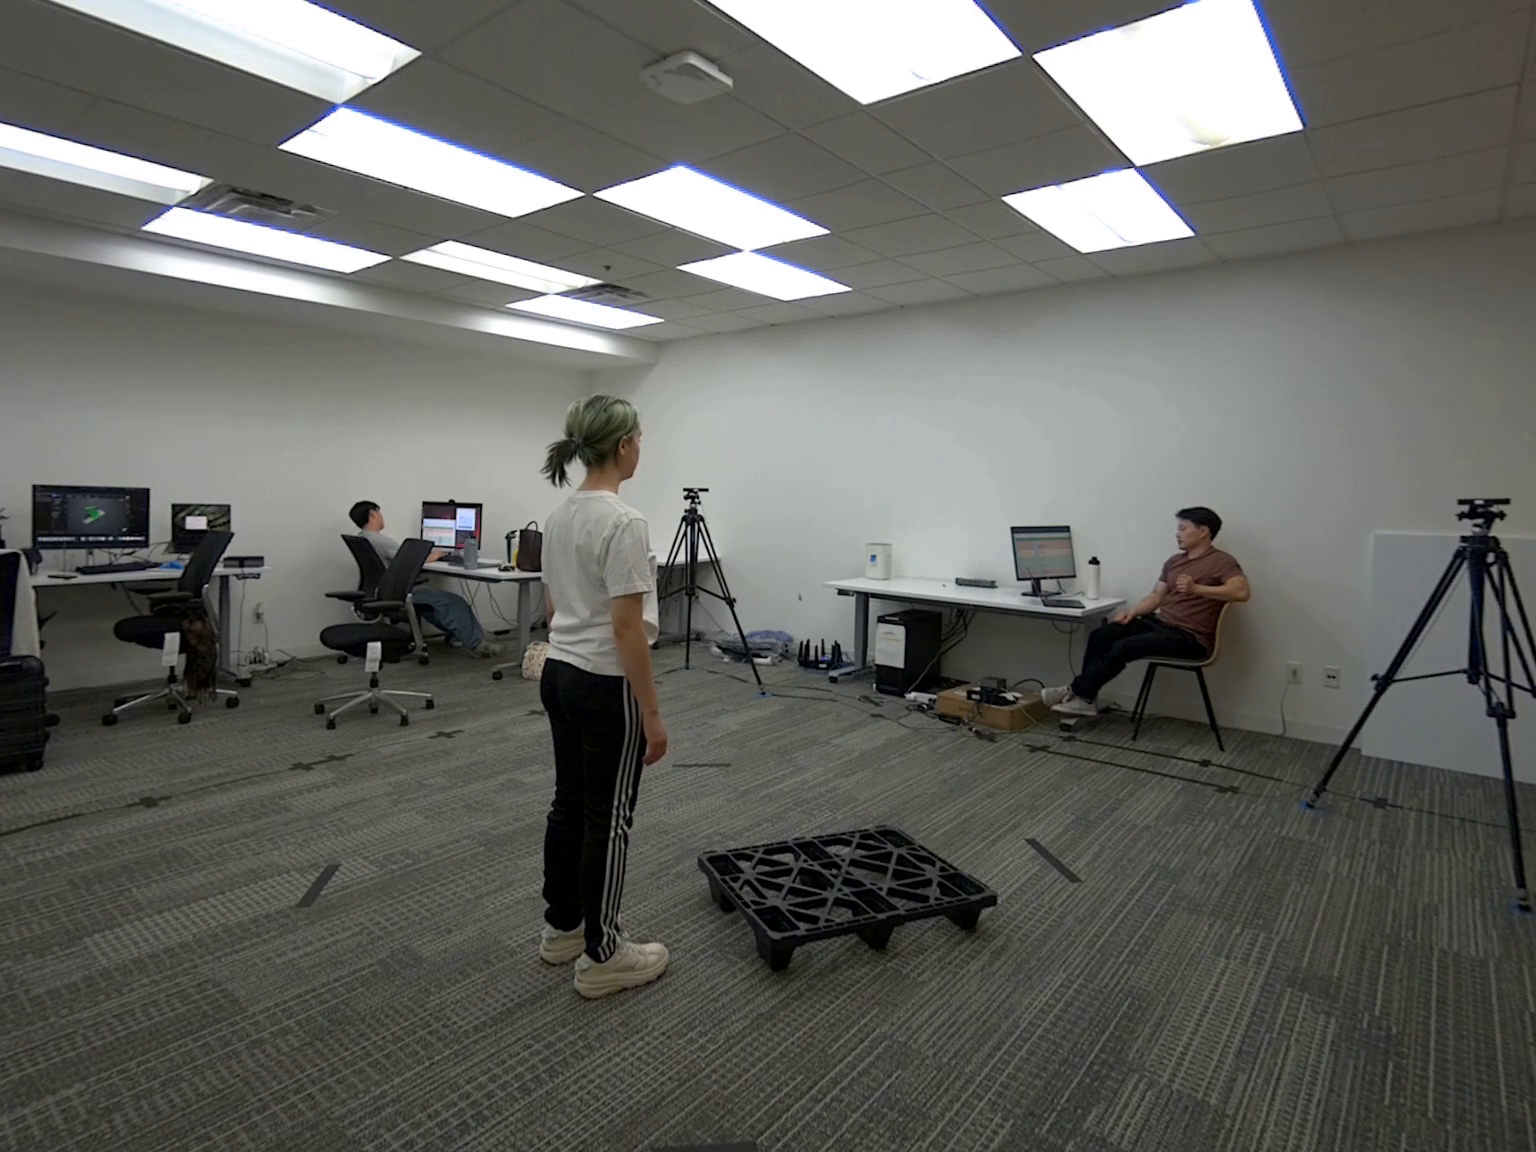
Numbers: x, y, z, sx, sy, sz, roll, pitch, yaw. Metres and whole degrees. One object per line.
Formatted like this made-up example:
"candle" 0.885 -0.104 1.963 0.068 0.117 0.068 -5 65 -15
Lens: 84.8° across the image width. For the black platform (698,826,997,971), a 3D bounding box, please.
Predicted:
"black platform" 0.234 1.041 2.804 0.787 0.143 0.622 -1 7 -24
